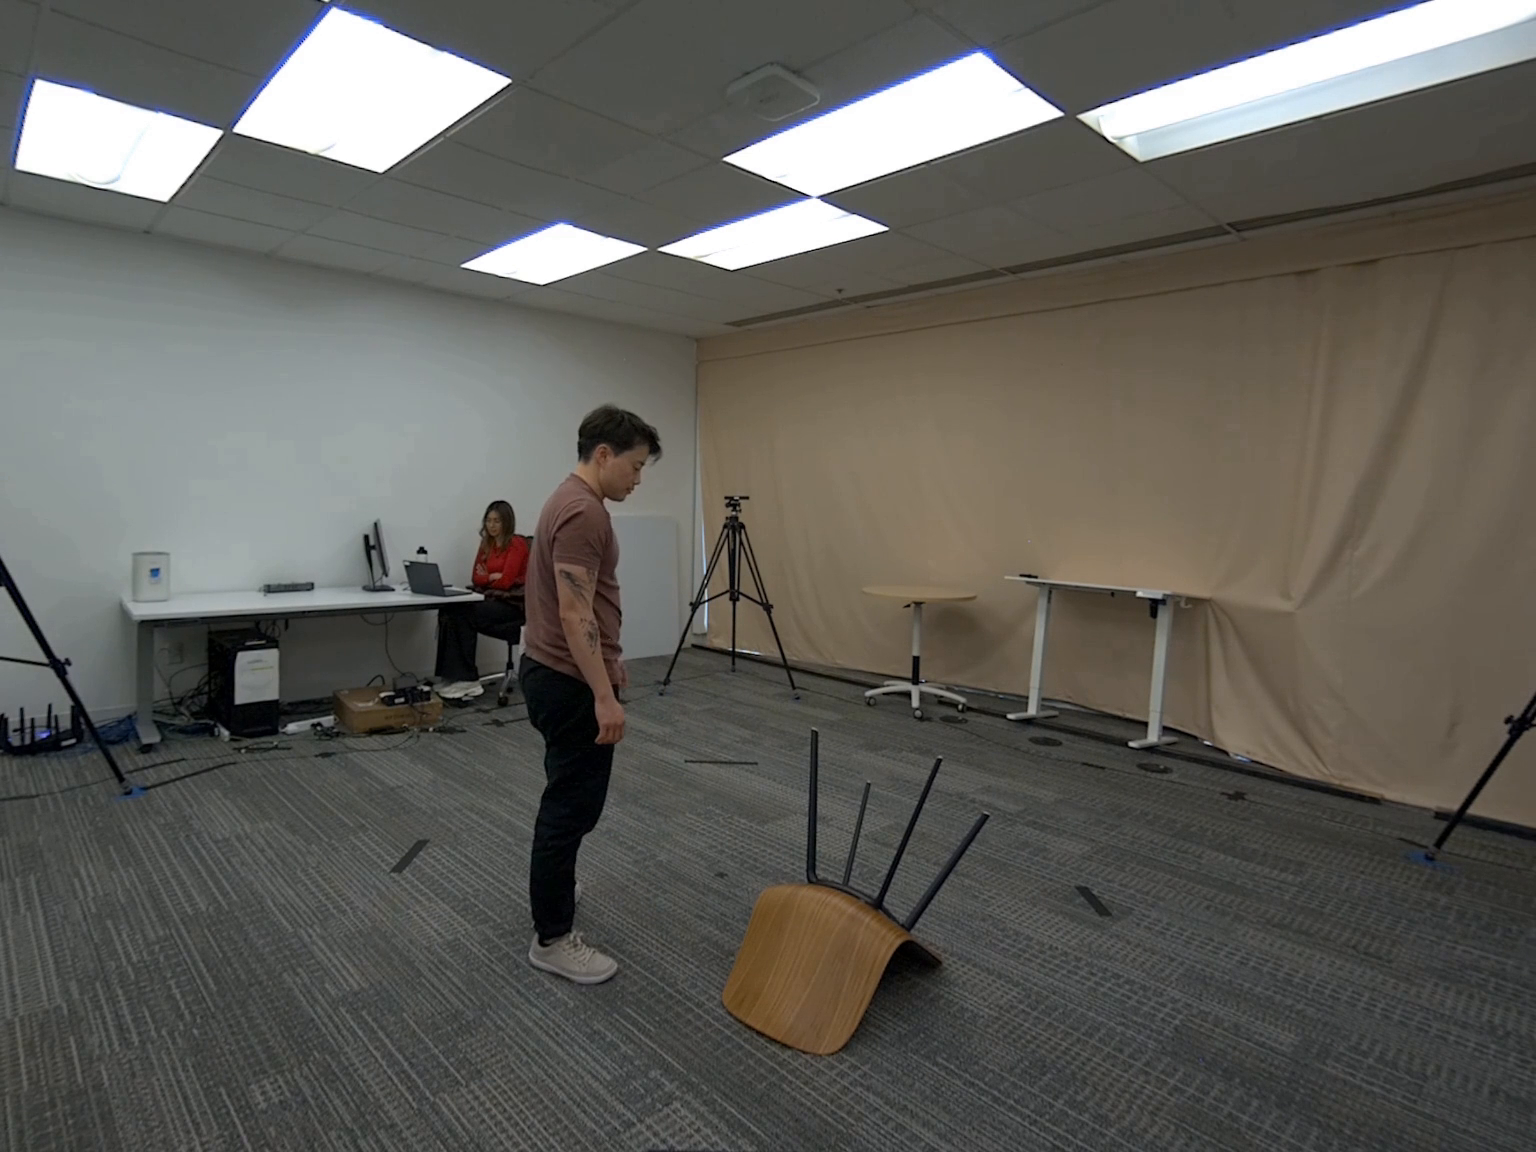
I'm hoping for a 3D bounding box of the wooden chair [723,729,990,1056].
[{"bbox_3d":[0.266,0.995,2.536,0.490,0.883,0.507,4,-35,37],"label":"wooden chair"}]
